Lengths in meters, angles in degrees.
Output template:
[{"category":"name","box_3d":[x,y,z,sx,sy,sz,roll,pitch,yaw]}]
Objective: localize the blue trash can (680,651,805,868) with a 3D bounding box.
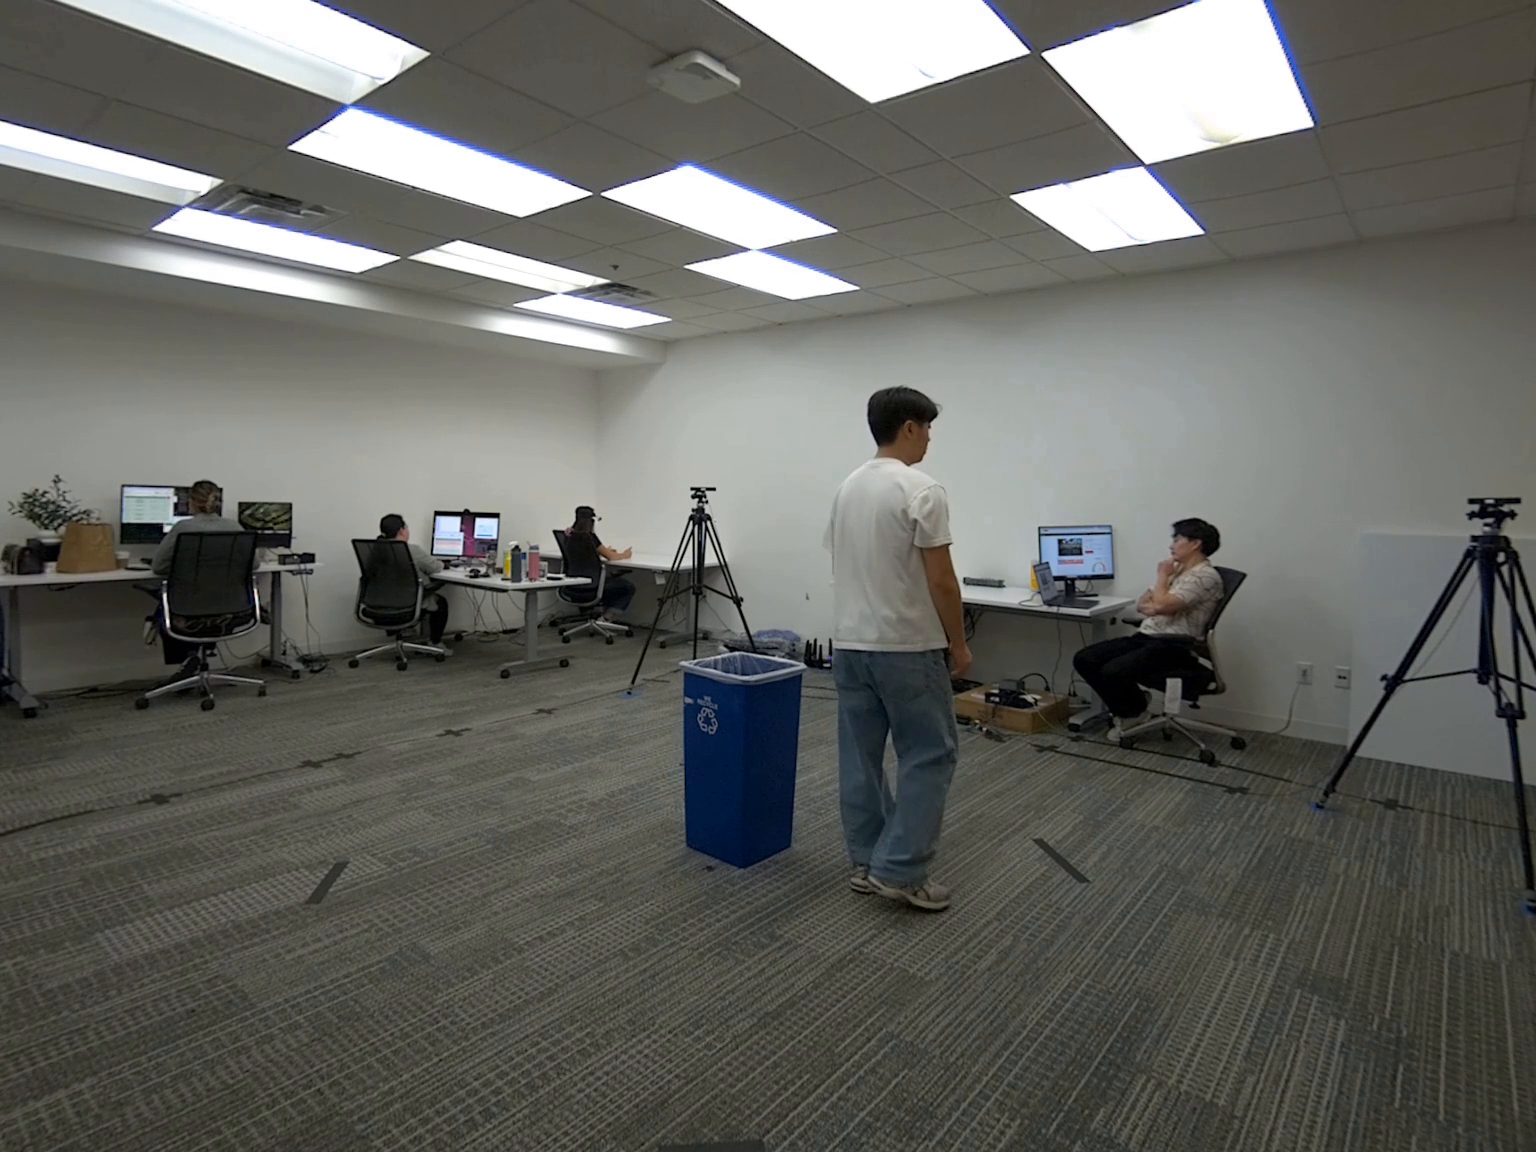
[{"category":"blue trash can","box_3d":[-0.108,0.692,3.293,0.386,0.711,0.367,4,4,40]}]
